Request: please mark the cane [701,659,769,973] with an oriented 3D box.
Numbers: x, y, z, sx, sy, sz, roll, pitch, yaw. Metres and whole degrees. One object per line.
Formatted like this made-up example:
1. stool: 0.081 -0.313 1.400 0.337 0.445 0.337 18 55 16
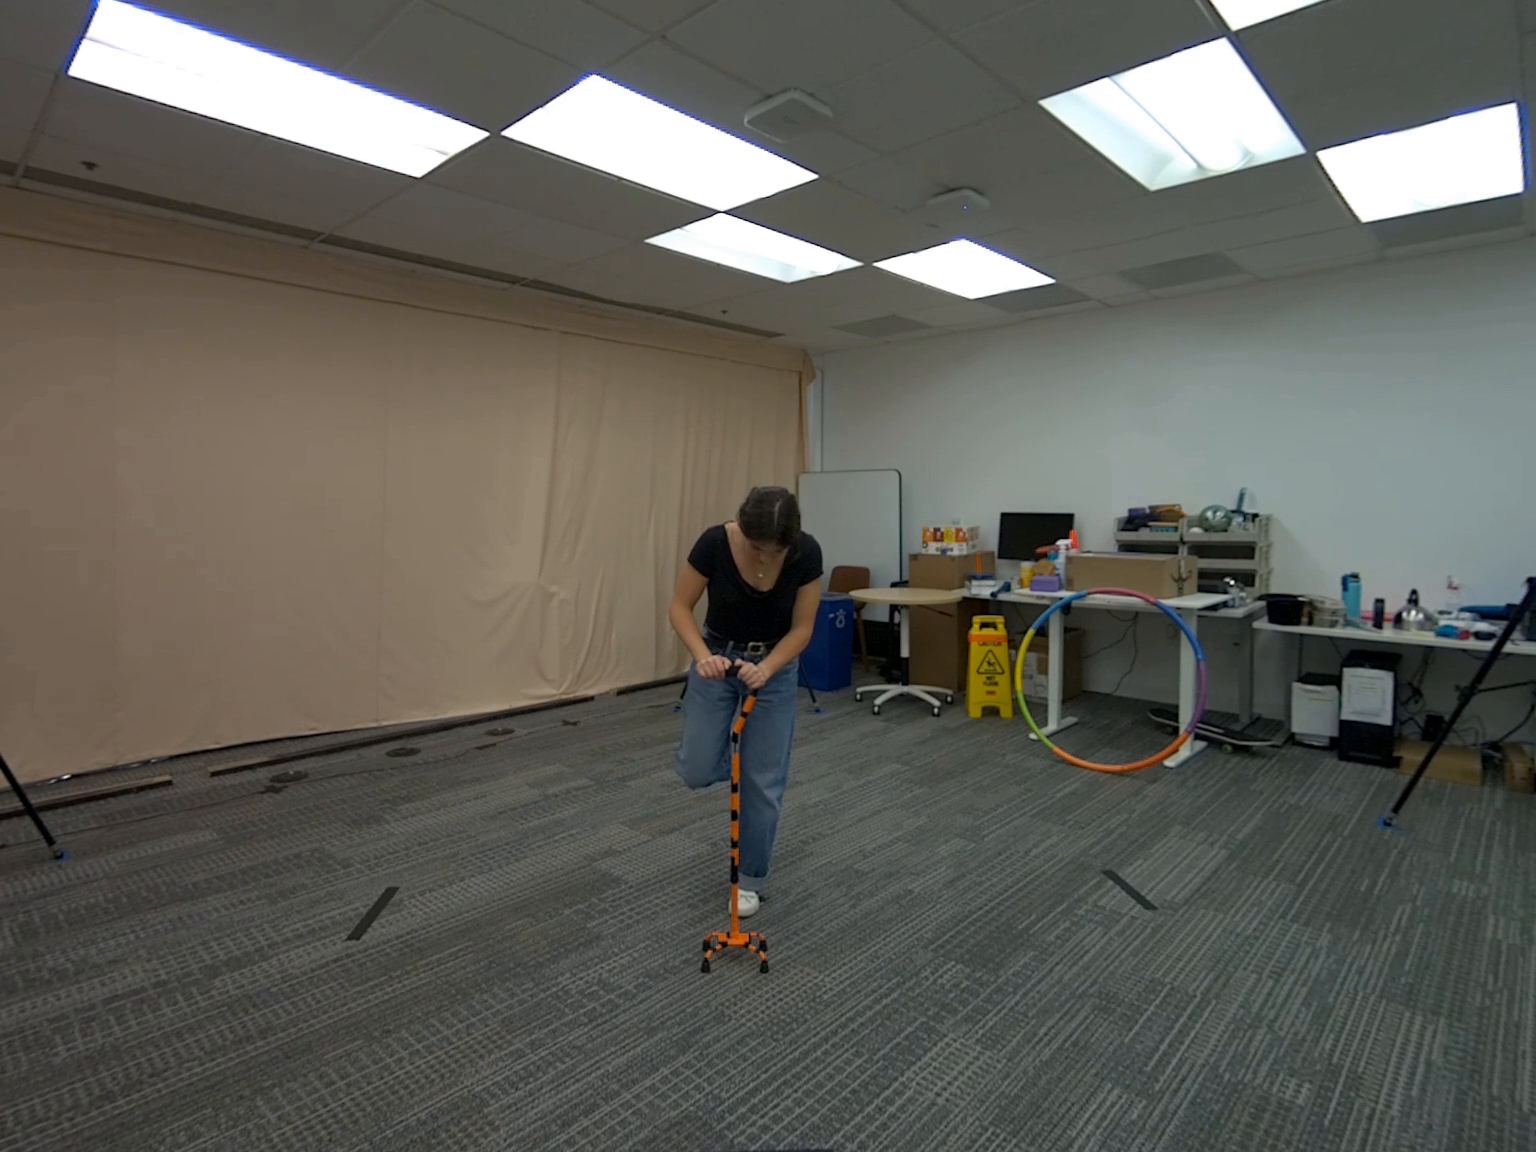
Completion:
1. cane: -0.096 0.717 2.554 0.207 0.906 0.152 1 4 0
